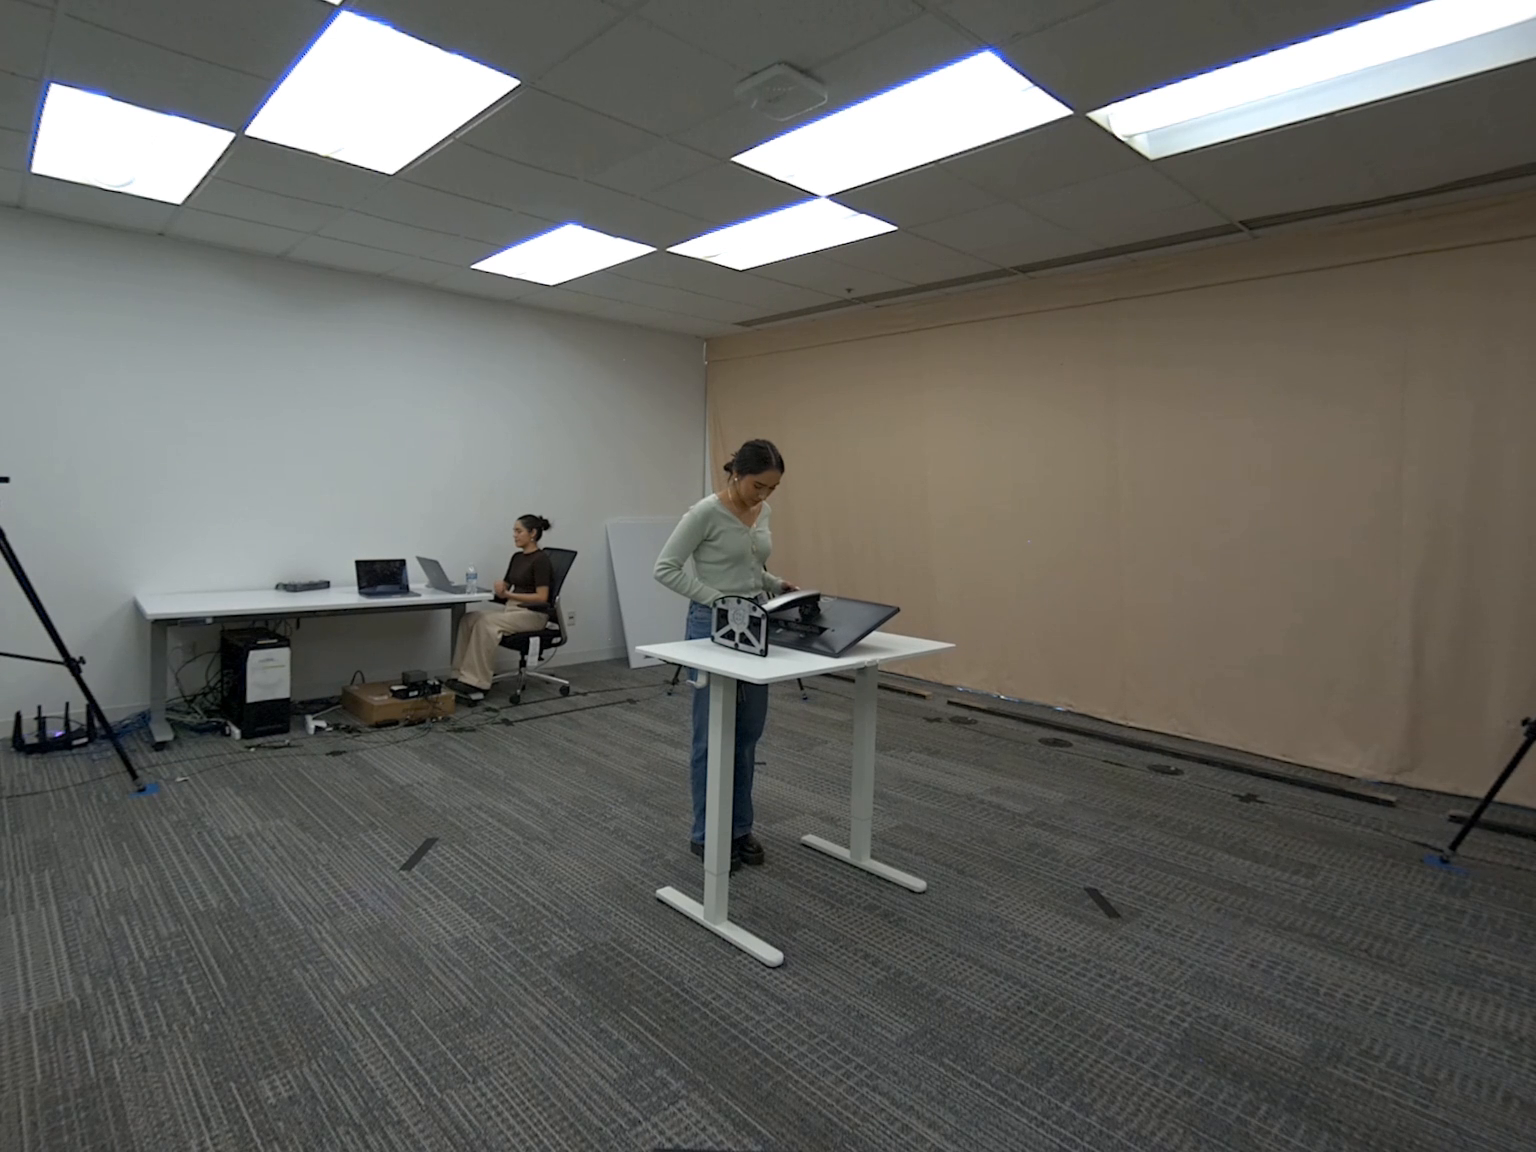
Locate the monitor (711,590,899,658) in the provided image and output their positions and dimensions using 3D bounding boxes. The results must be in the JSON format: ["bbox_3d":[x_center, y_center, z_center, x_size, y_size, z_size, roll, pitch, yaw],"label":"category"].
[{"bbox_3d":[0.074,0.141,2.940,0.511,0.186,0.554,-7,13,-41],"label":"monitor"}]
